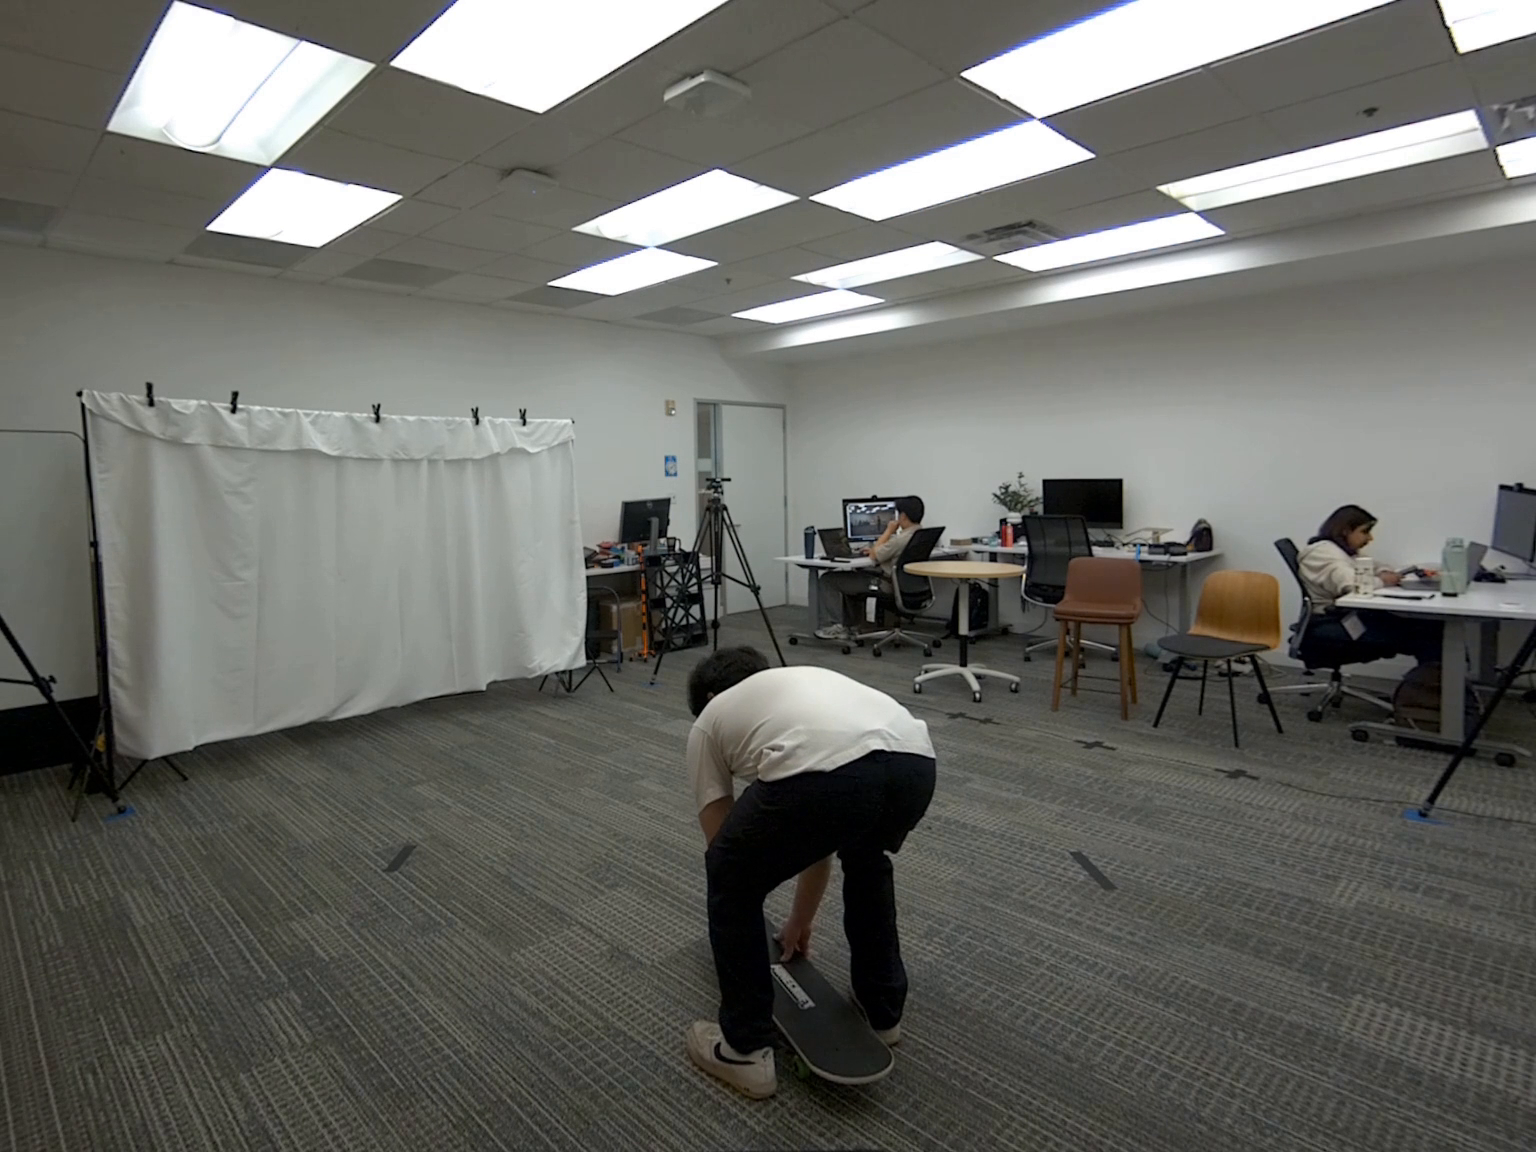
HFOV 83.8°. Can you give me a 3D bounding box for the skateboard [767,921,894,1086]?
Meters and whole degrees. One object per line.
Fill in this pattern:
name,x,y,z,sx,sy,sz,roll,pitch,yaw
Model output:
skateboard,0.075,1.101,2.208,0.189,0.110,0.805,-4,8,-25
